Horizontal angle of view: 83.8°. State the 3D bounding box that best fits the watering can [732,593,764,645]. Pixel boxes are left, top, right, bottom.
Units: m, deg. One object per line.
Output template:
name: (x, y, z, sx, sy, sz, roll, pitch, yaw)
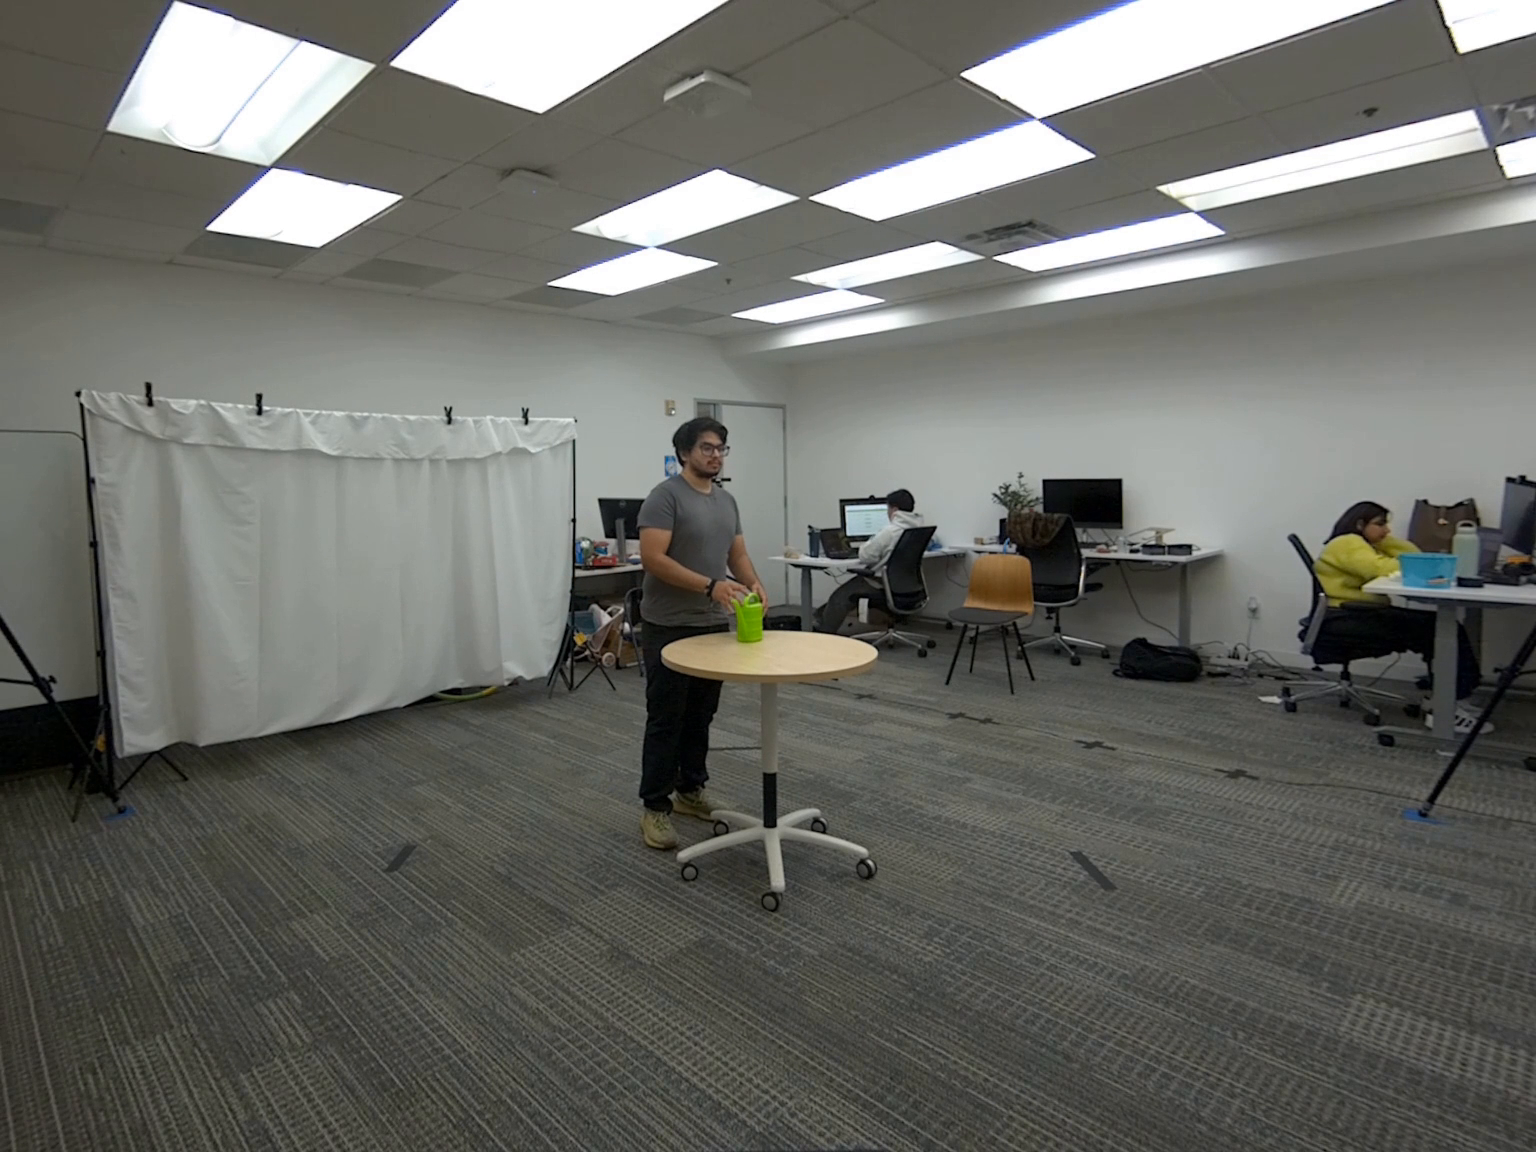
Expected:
watering can: (-0.095, 0.159, 3.202, 0.100, 0.176, 0.272, -2, 3, 32)
